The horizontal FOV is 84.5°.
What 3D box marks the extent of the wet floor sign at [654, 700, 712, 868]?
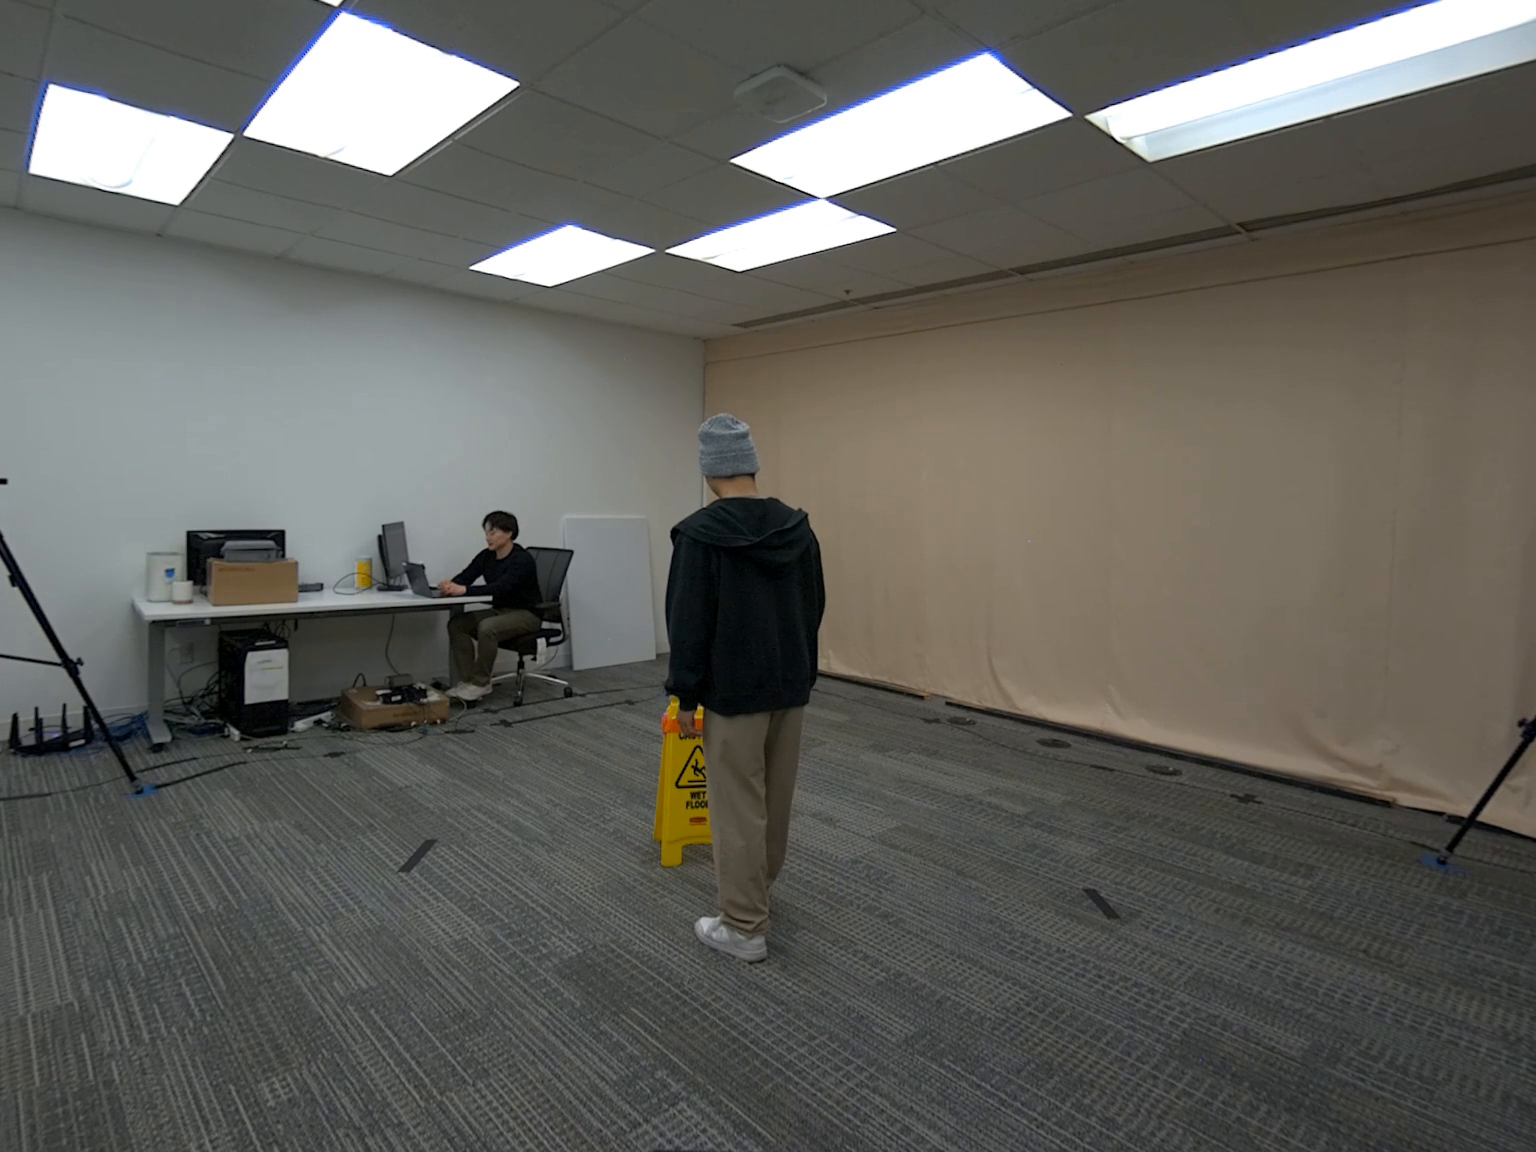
[{"bbox_3d":[-0.300,0.757,3.305,0.279,0.645,0.293,2,2,-12],"label":"wet floor sign"}]
